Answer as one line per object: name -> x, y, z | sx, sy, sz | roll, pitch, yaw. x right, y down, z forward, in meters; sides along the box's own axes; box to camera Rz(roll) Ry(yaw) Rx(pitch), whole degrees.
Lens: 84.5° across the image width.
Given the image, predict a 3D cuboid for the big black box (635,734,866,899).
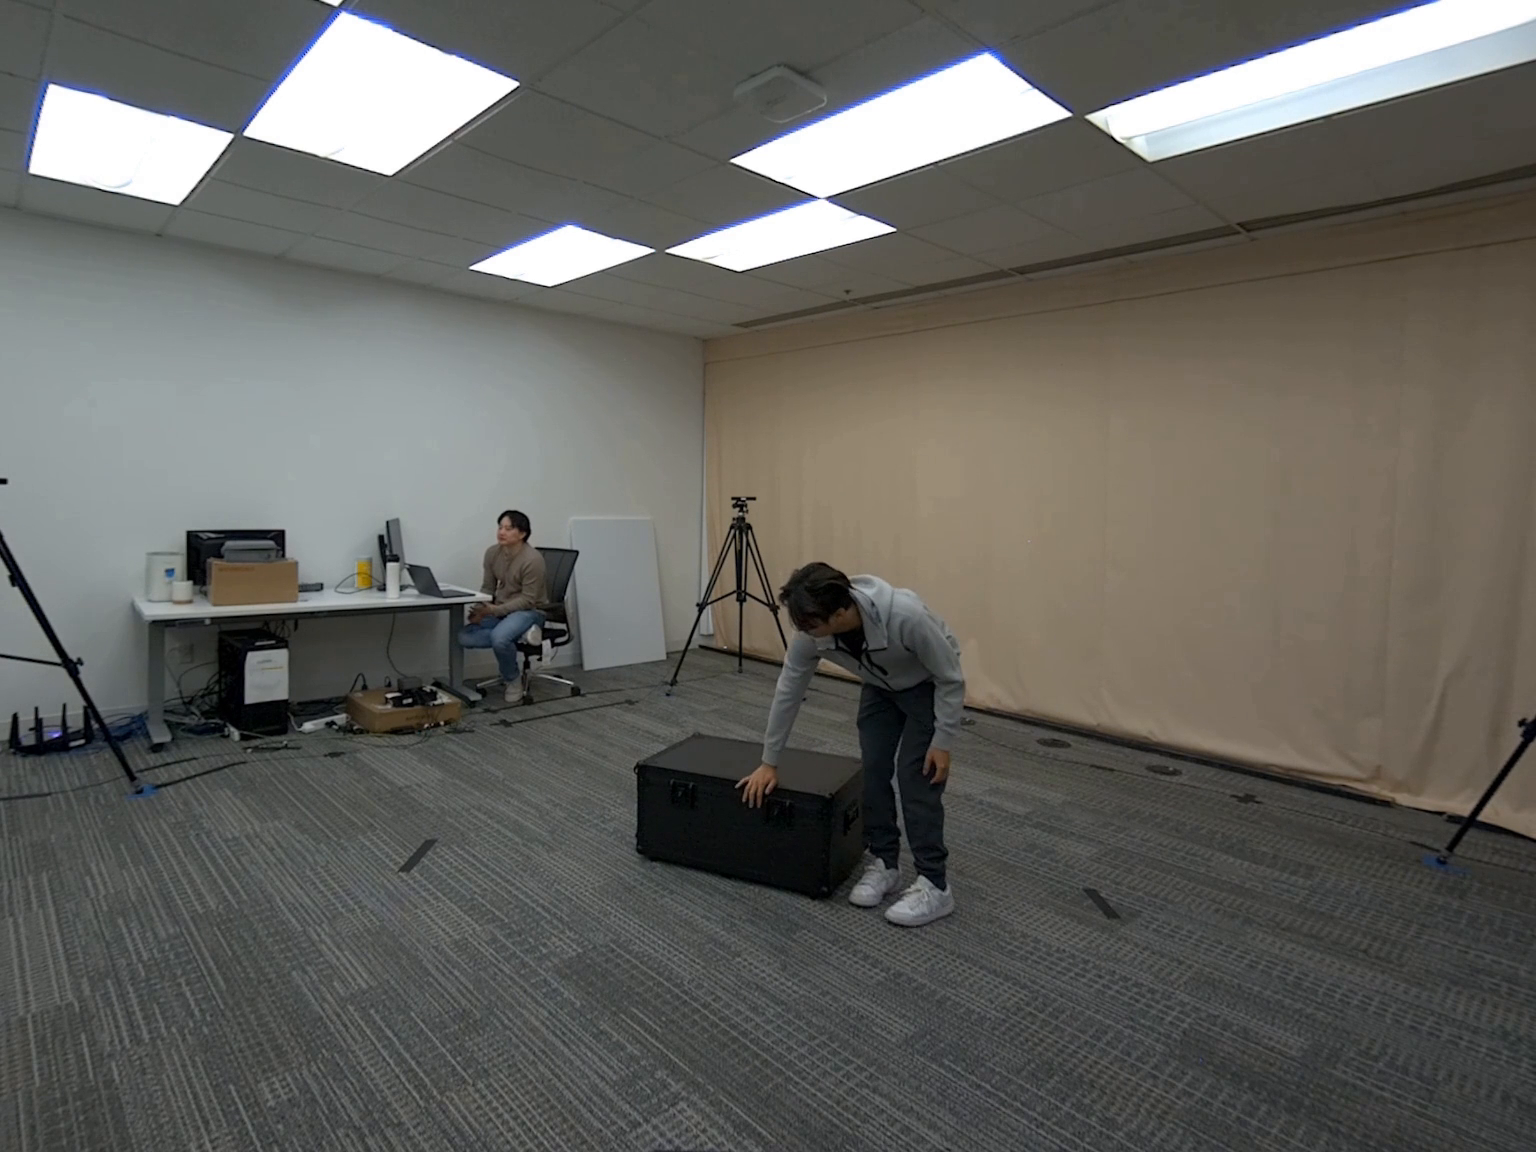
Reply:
big black box -> -0.031, 0.906, 3.258 | 0.878, 0.395, 0.513 | 3, 5, 25
